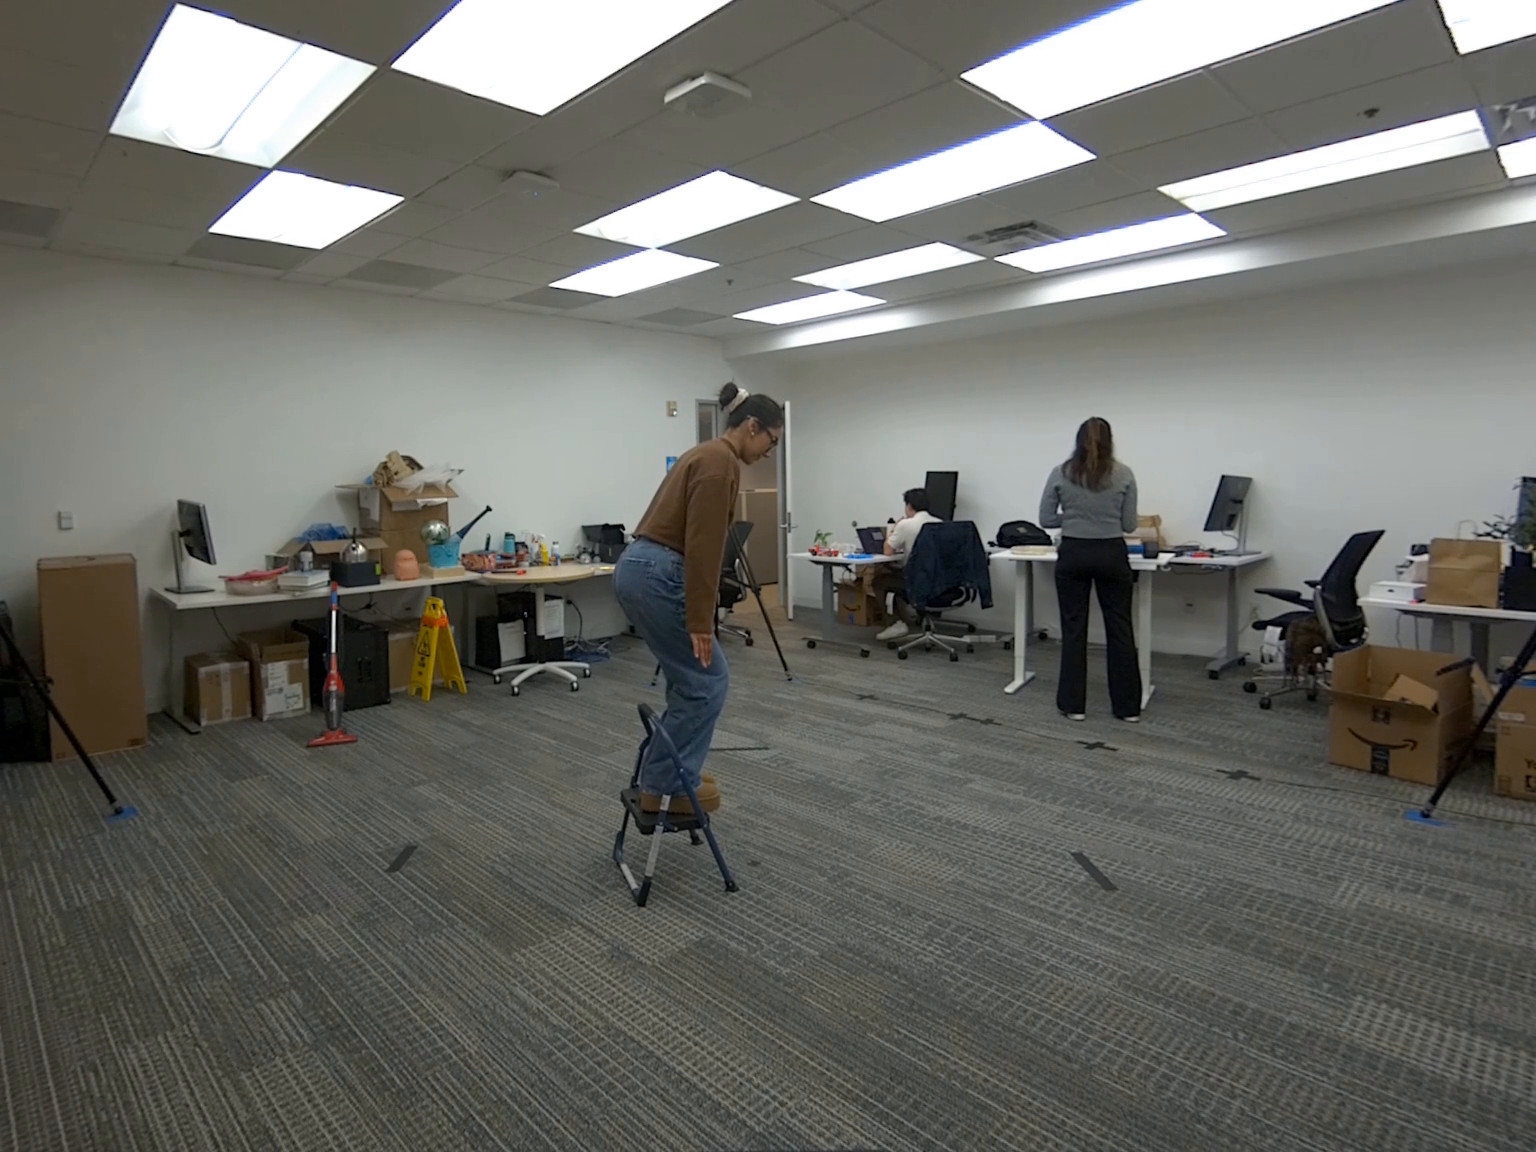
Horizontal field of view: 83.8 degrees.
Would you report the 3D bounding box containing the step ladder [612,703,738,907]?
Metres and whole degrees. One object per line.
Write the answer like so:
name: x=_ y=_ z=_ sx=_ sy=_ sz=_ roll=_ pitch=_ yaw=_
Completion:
step ladder: x=-0.344 y=0.760 z=3.028 sx=0.343 sy=0.604 sz=0.440 roll=-2 pitch=5 yaw=-22
